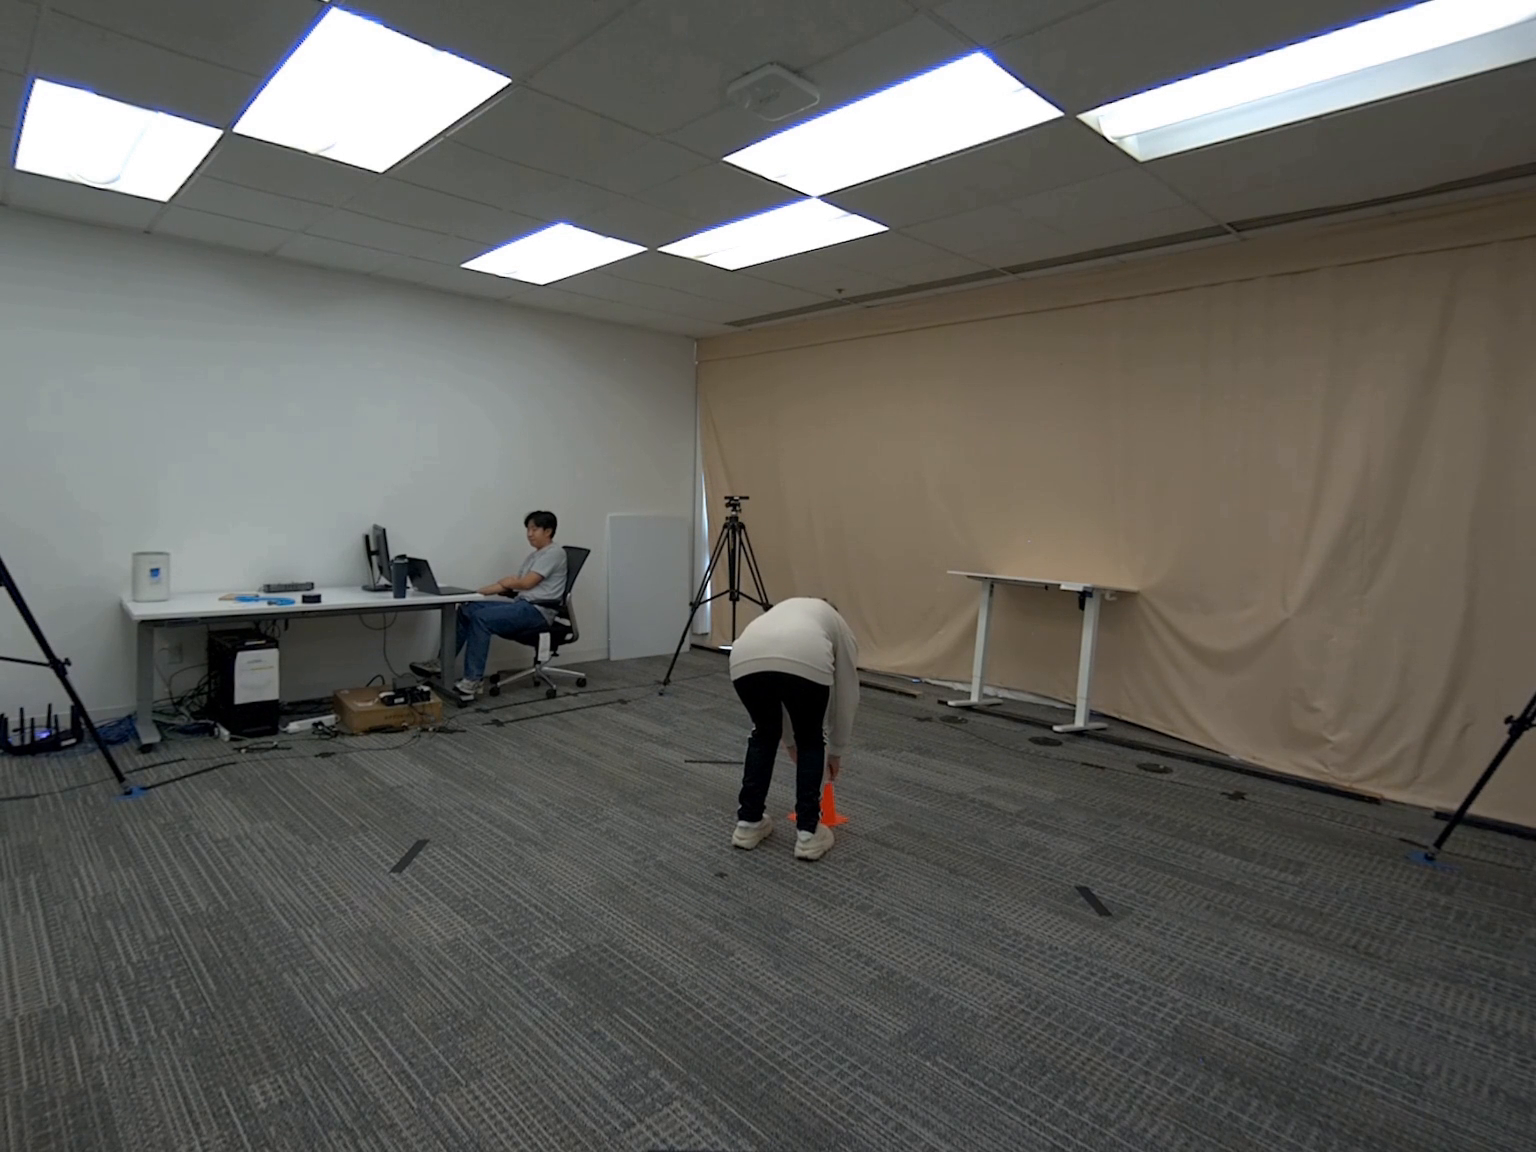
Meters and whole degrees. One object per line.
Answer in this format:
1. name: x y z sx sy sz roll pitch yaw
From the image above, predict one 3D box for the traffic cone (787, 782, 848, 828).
1. traffic cone: 0.214 0.871 3.682 0.199 0.382 0.210 -3 6 -44
